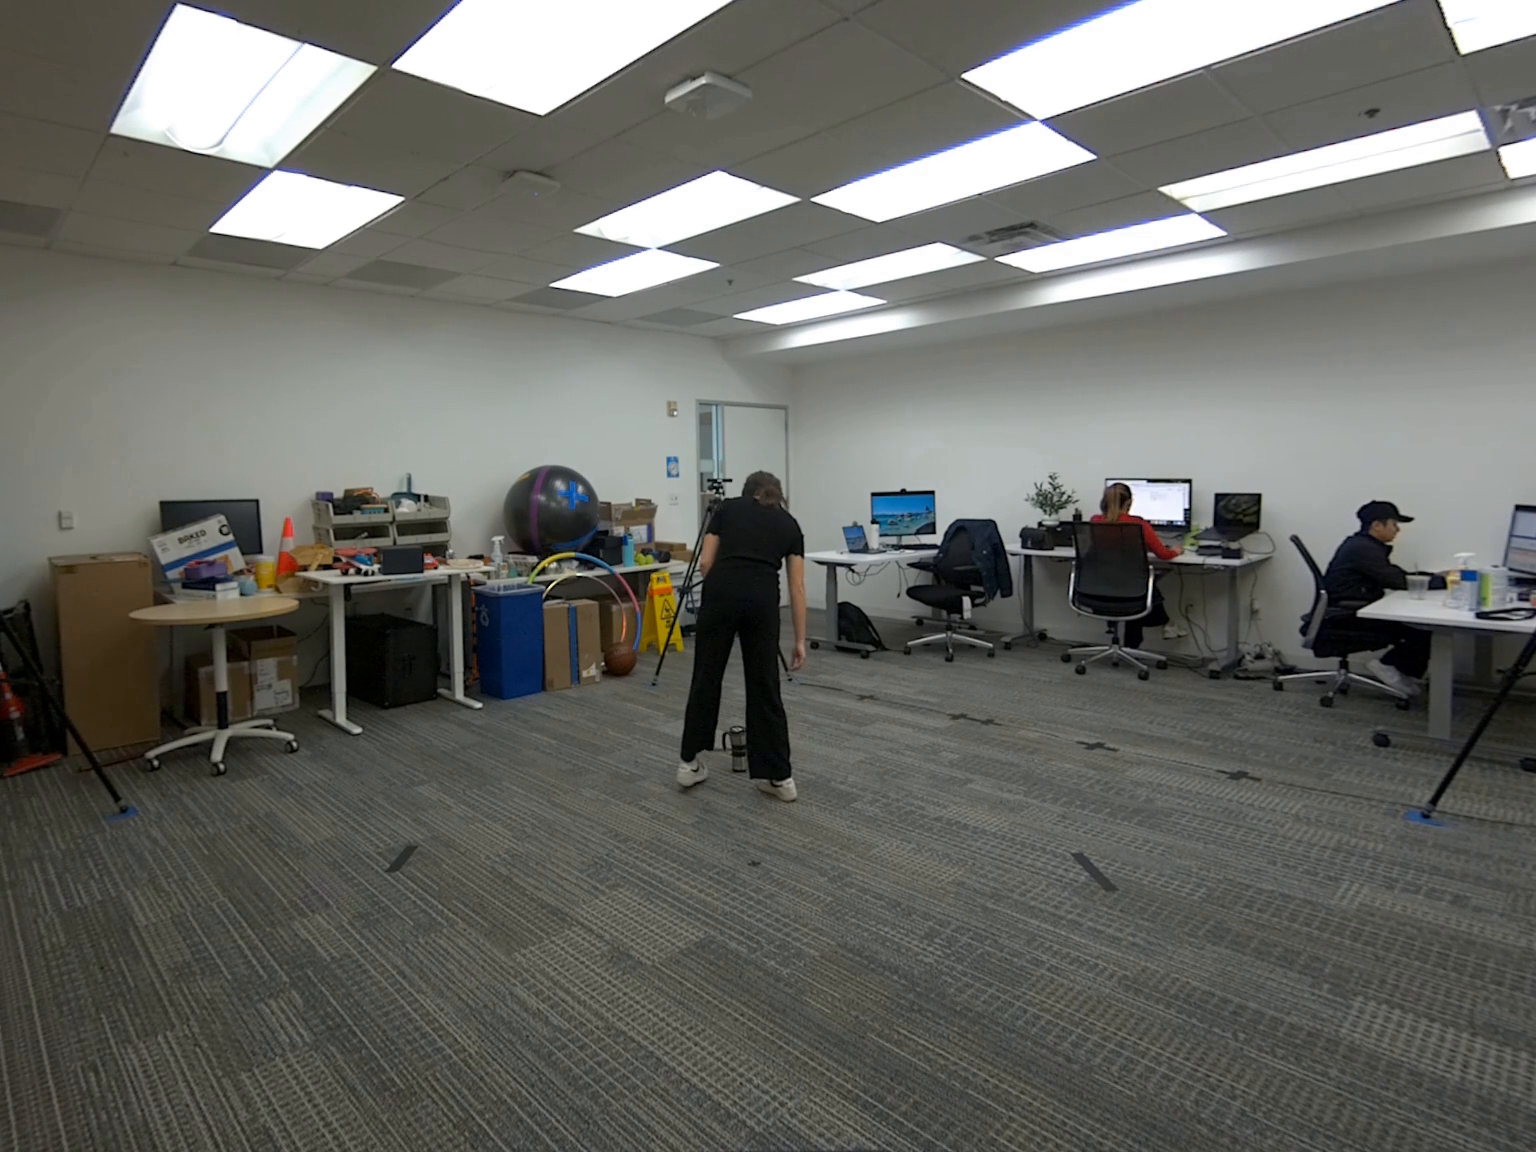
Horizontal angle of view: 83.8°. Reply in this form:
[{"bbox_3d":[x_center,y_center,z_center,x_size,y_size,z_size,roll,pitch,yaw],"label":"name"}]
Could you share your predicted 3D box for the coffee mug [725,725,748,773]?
[{"bbox_3d":[-0.159,0.832,4.125,0.126,0.201,0.086,6,11,39],"label":"coffee mug"}]
